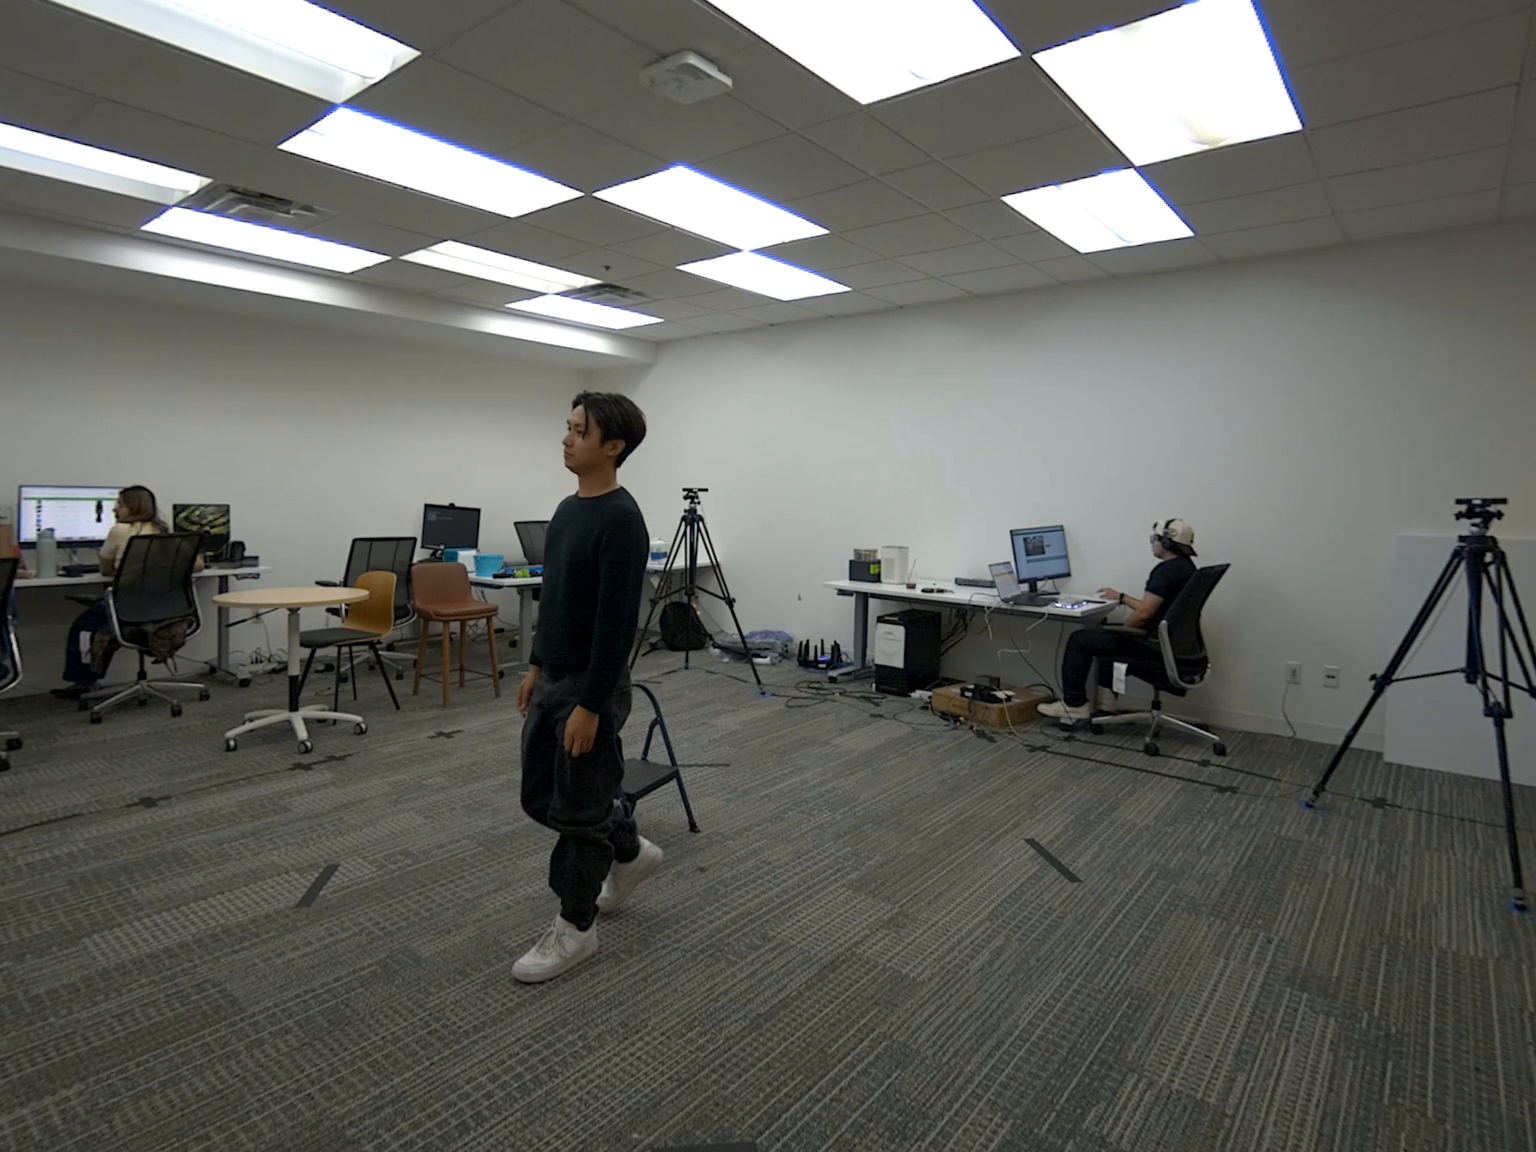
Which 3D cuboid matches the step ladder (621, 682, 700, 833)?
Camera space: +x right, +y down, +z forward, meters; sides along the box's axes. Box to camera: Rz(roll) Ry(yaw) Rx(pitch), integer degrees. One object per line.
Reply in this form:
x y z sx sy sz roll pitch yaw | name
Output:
-0.521 0.736 3.343 0.358 0.604 0.421 3 4 24 | step ladder
